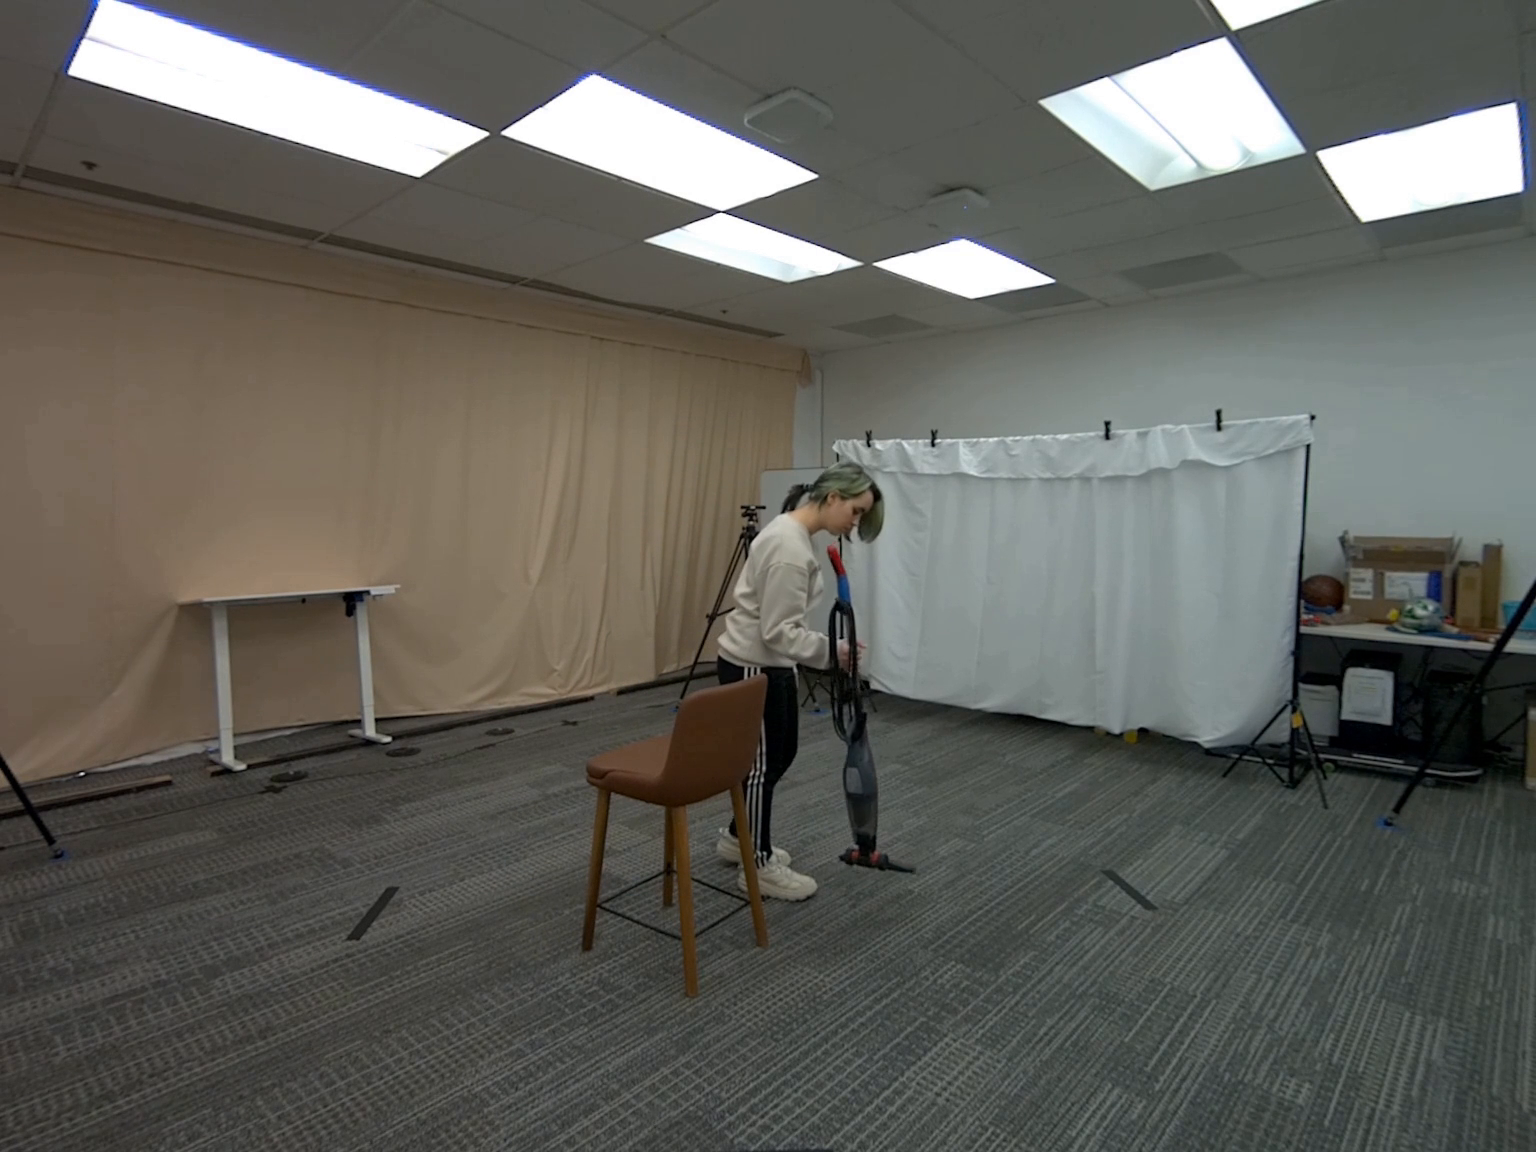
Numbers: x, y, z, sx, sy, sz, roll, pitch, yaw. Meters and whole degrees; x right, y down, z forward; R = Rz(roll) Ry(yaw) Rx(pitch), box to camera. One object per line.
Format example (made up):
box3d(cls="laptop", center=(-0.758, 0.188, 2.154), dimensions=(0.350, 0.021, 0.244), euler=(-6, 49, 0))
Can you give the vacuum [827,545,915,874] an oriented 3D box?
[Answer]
box3d(cls="vacuum", center=(0.275, 0.437, 2.643), dimensions=(0.260, 1.041, 0.141), euler=(-1, 12, 33))
